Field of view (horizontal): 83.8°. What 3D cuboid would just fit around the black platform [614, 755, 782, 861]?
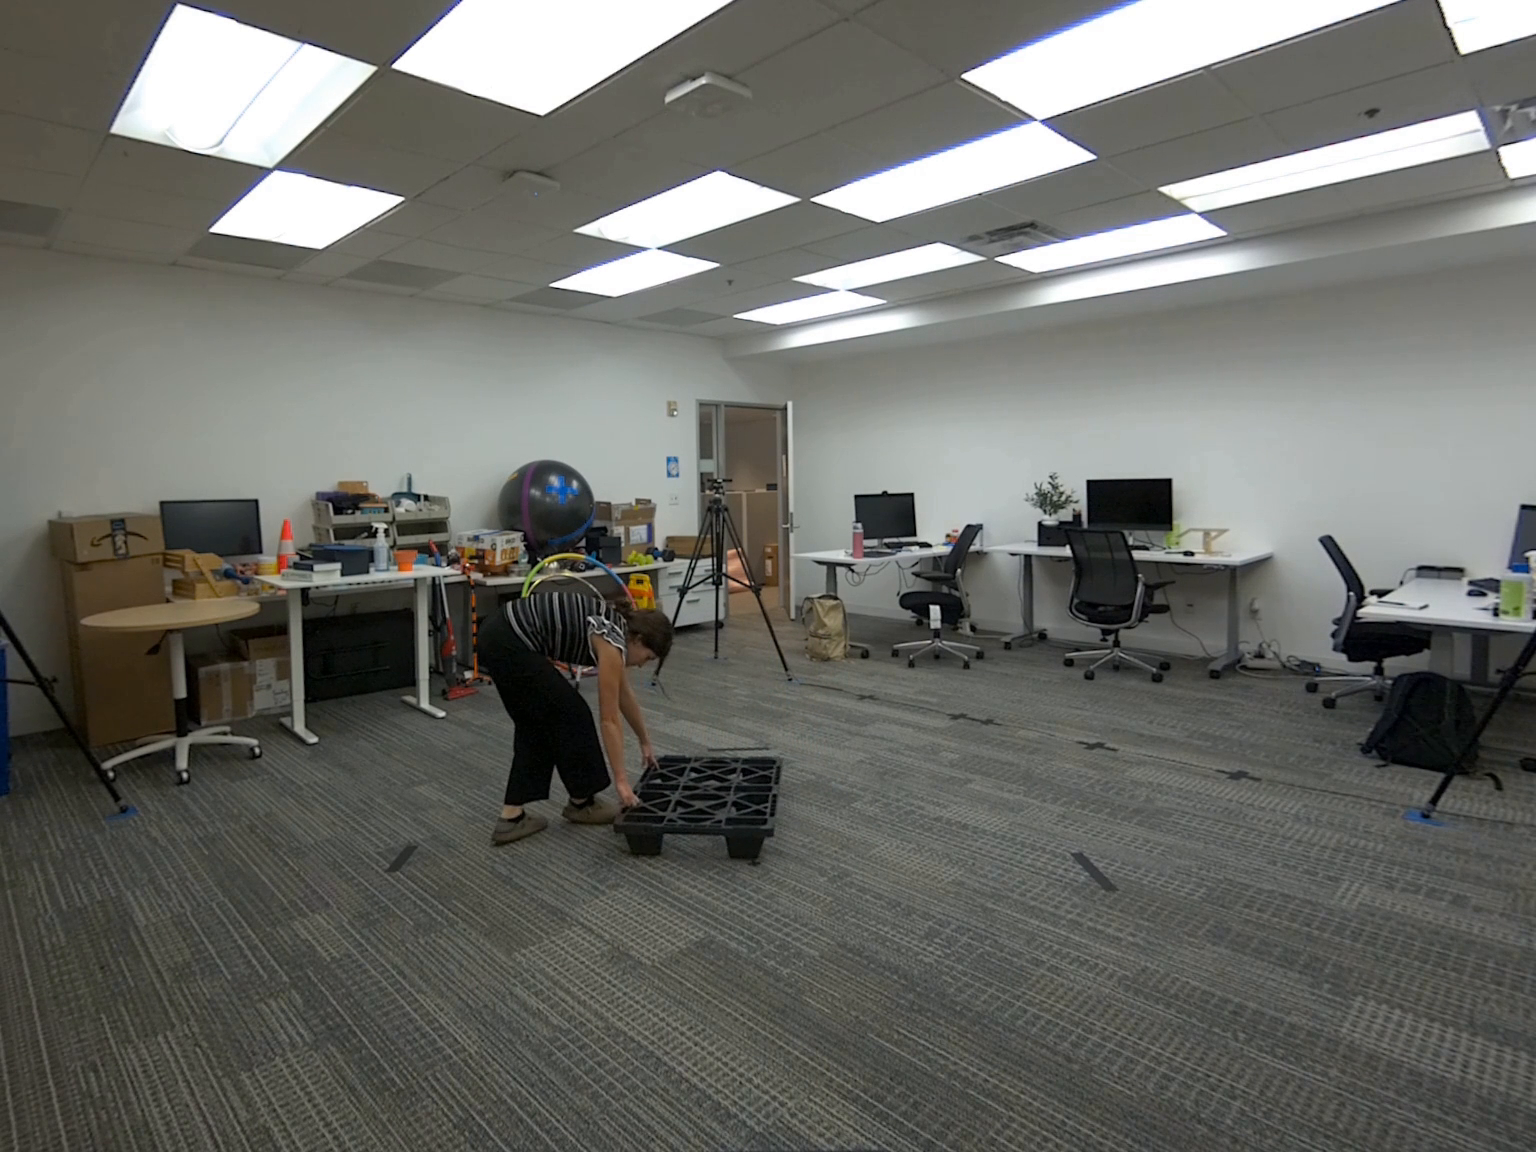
[{"bbox_3d":[-0.250,0.932,3.516,0.608,0.142,0.806,0,7,4],"label":"black platform"}]
